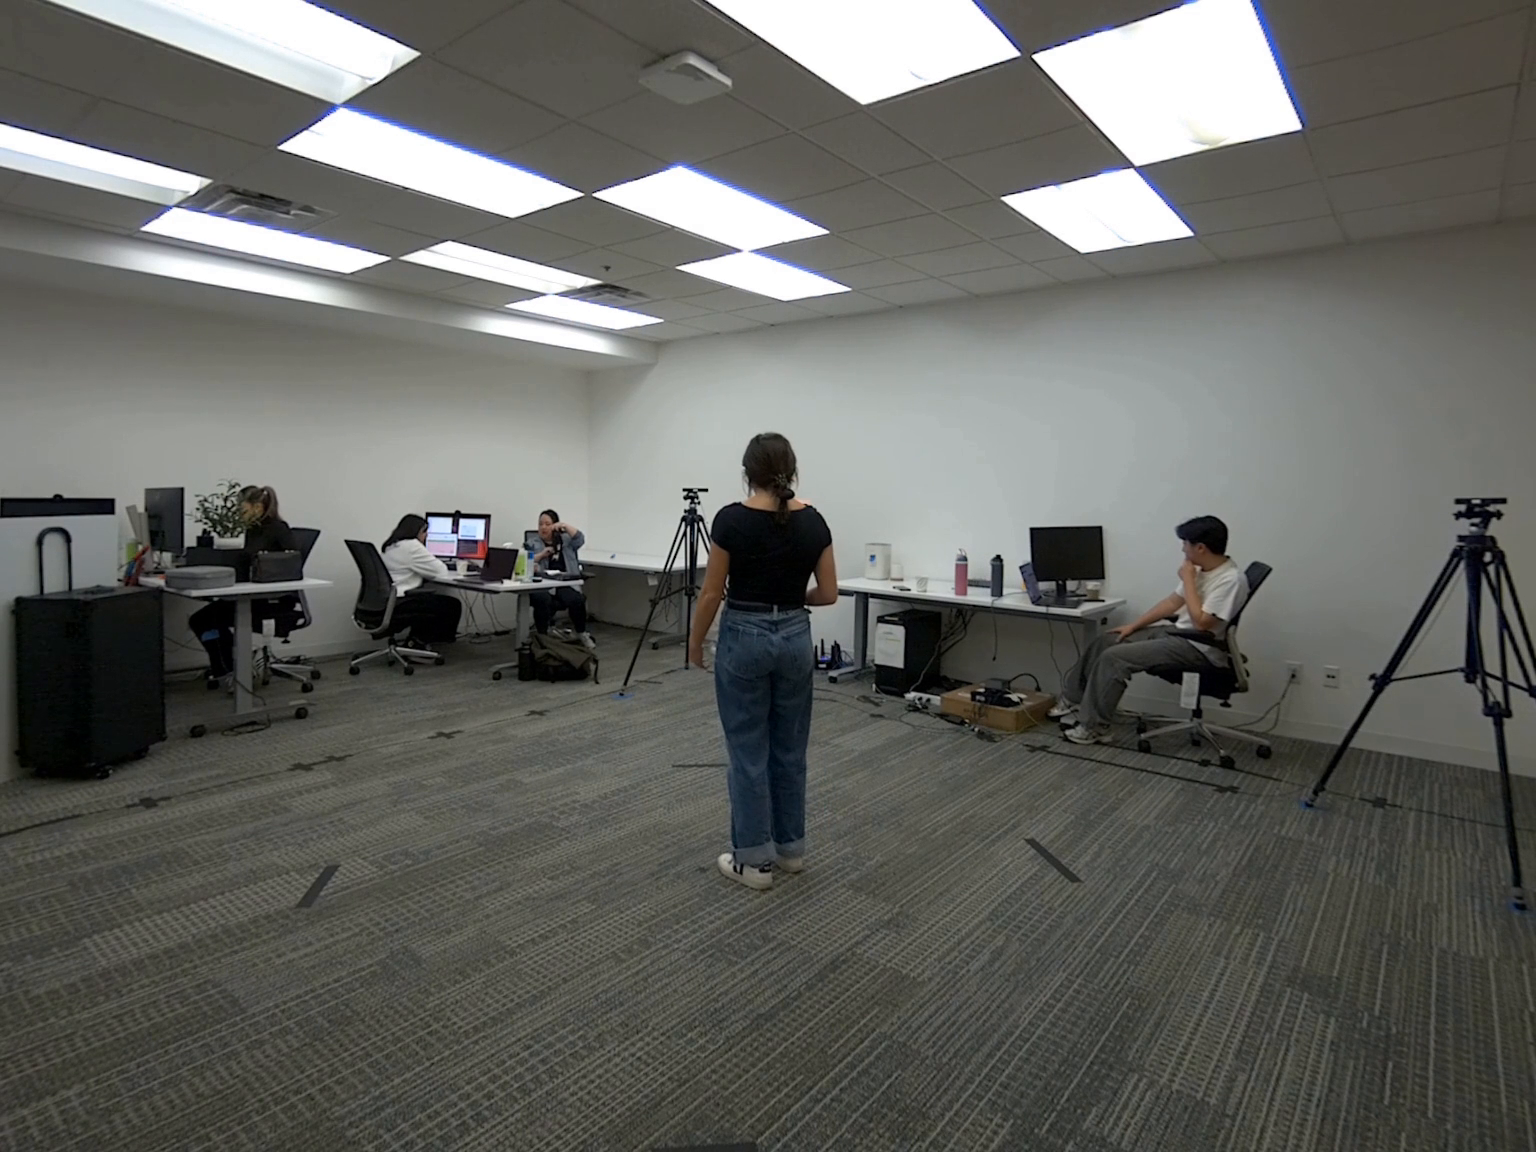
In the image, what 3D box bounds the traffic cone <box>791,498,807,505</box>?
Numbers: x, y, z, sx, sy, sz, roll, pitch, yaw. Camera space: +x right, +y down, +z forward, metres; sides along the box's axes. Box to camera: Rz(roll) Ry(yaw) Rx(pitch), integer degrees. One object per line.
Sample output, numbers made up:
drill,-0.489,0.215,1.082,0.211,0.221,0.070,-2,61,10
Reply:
traffic cone,0.055,-0.082,3.230,0.206,0.377,0.206,-3,17,11
